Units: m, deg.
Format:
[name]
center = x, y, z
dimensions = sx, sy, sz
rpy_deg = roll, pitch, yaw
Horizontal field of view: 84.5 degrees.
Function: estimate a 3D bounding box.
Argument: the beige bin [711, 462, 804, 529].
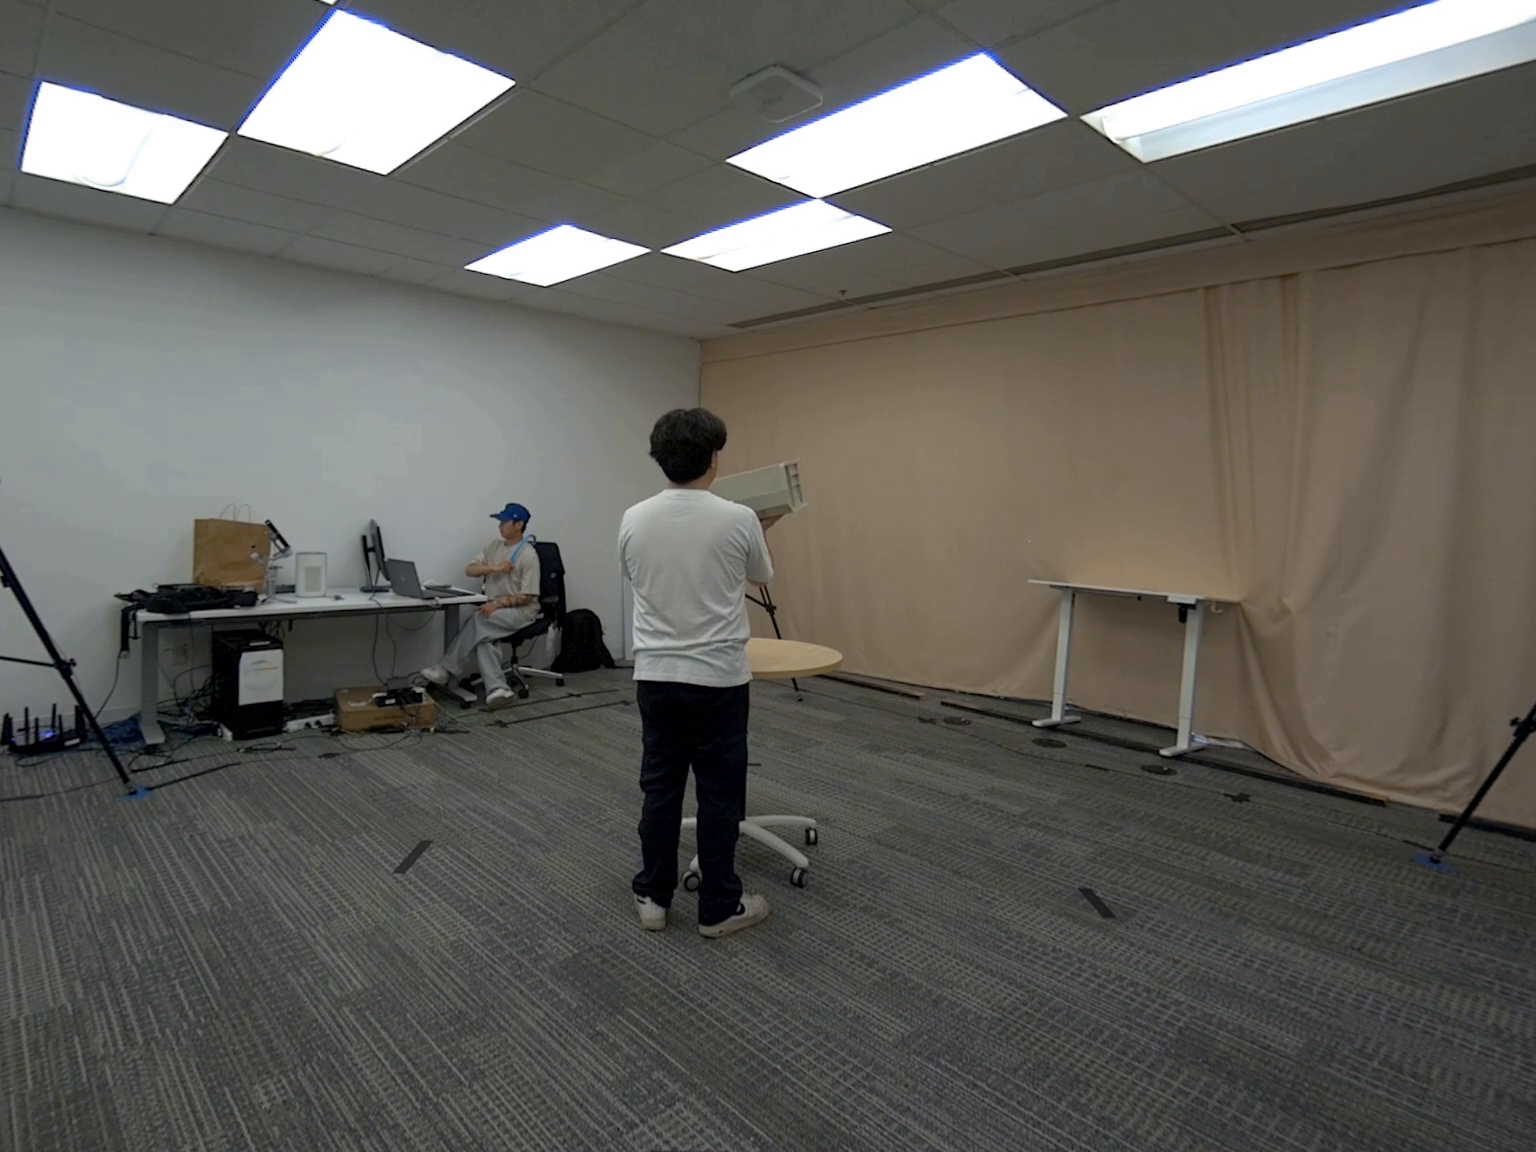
[beige bin]
center = -0.101, -0.292, 3.119
dimensions = 0.426, 0.188, 0.375
rpy_deg = -12, 5, 14
